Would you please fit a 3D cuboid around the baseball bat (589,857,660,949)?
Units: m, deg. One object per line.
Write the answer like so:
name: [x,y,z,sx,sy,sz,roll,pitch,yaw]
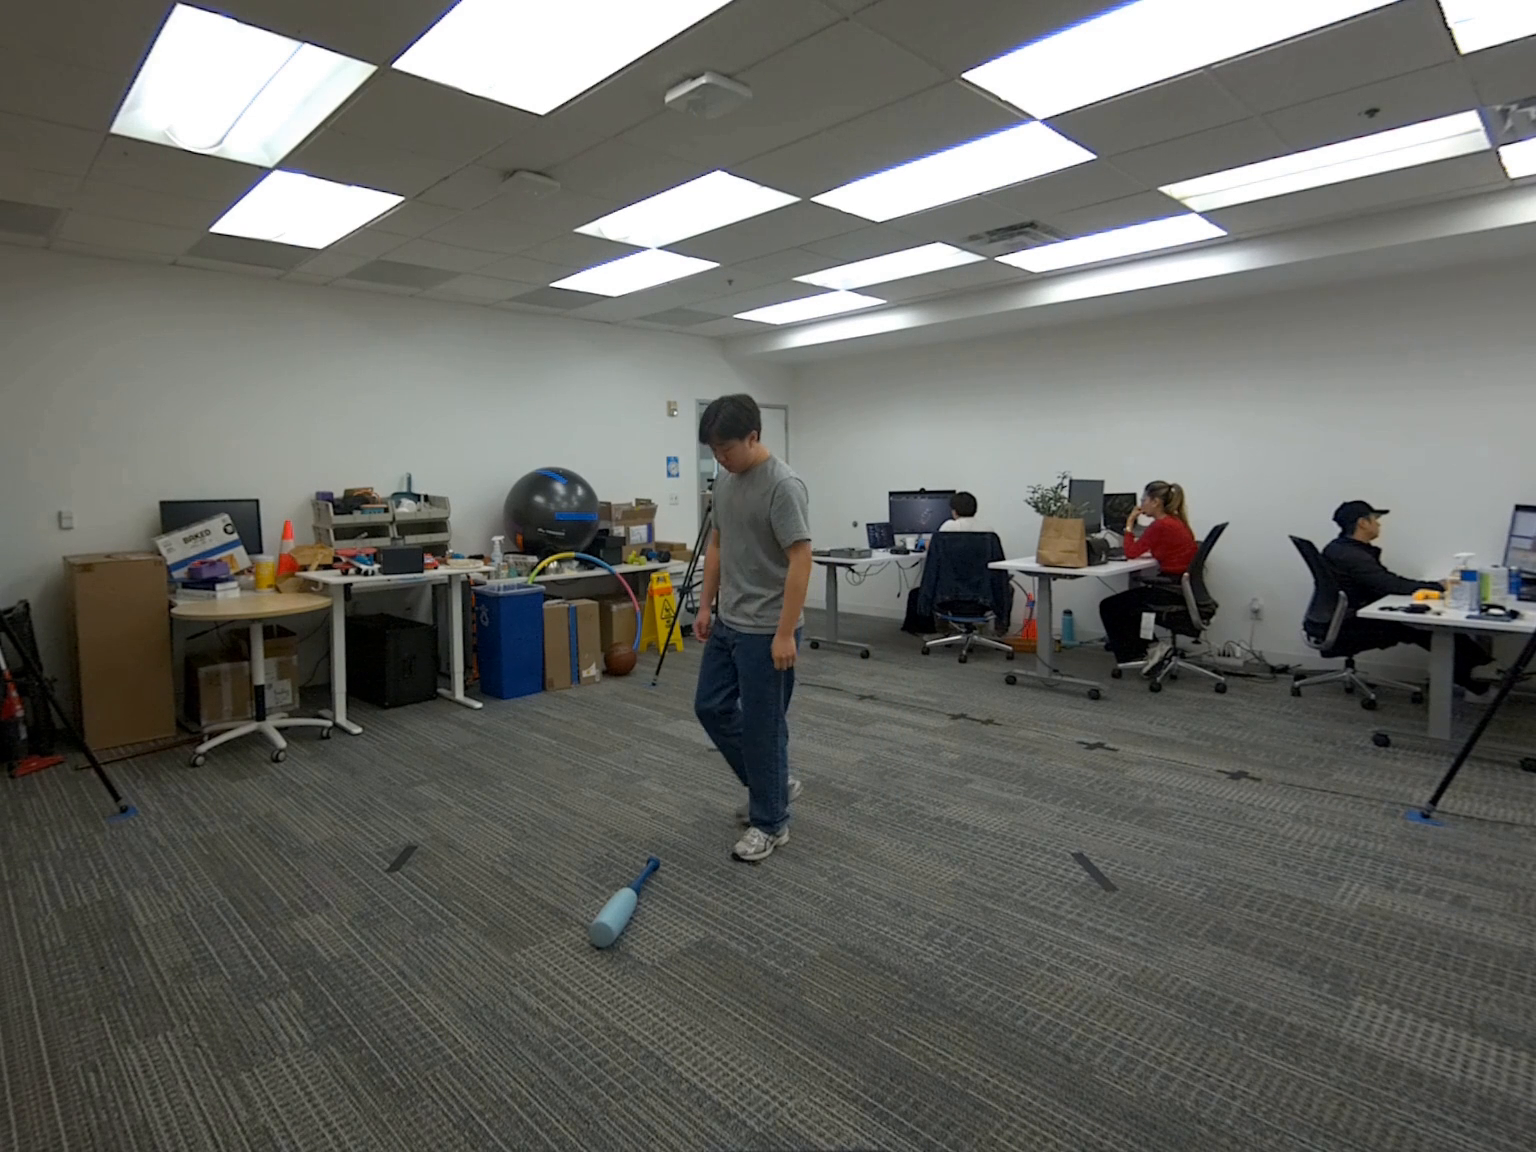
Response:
baseball bat: [-0.450,1.052,2.804,0.090,0.089,0.539,0,4,8]
